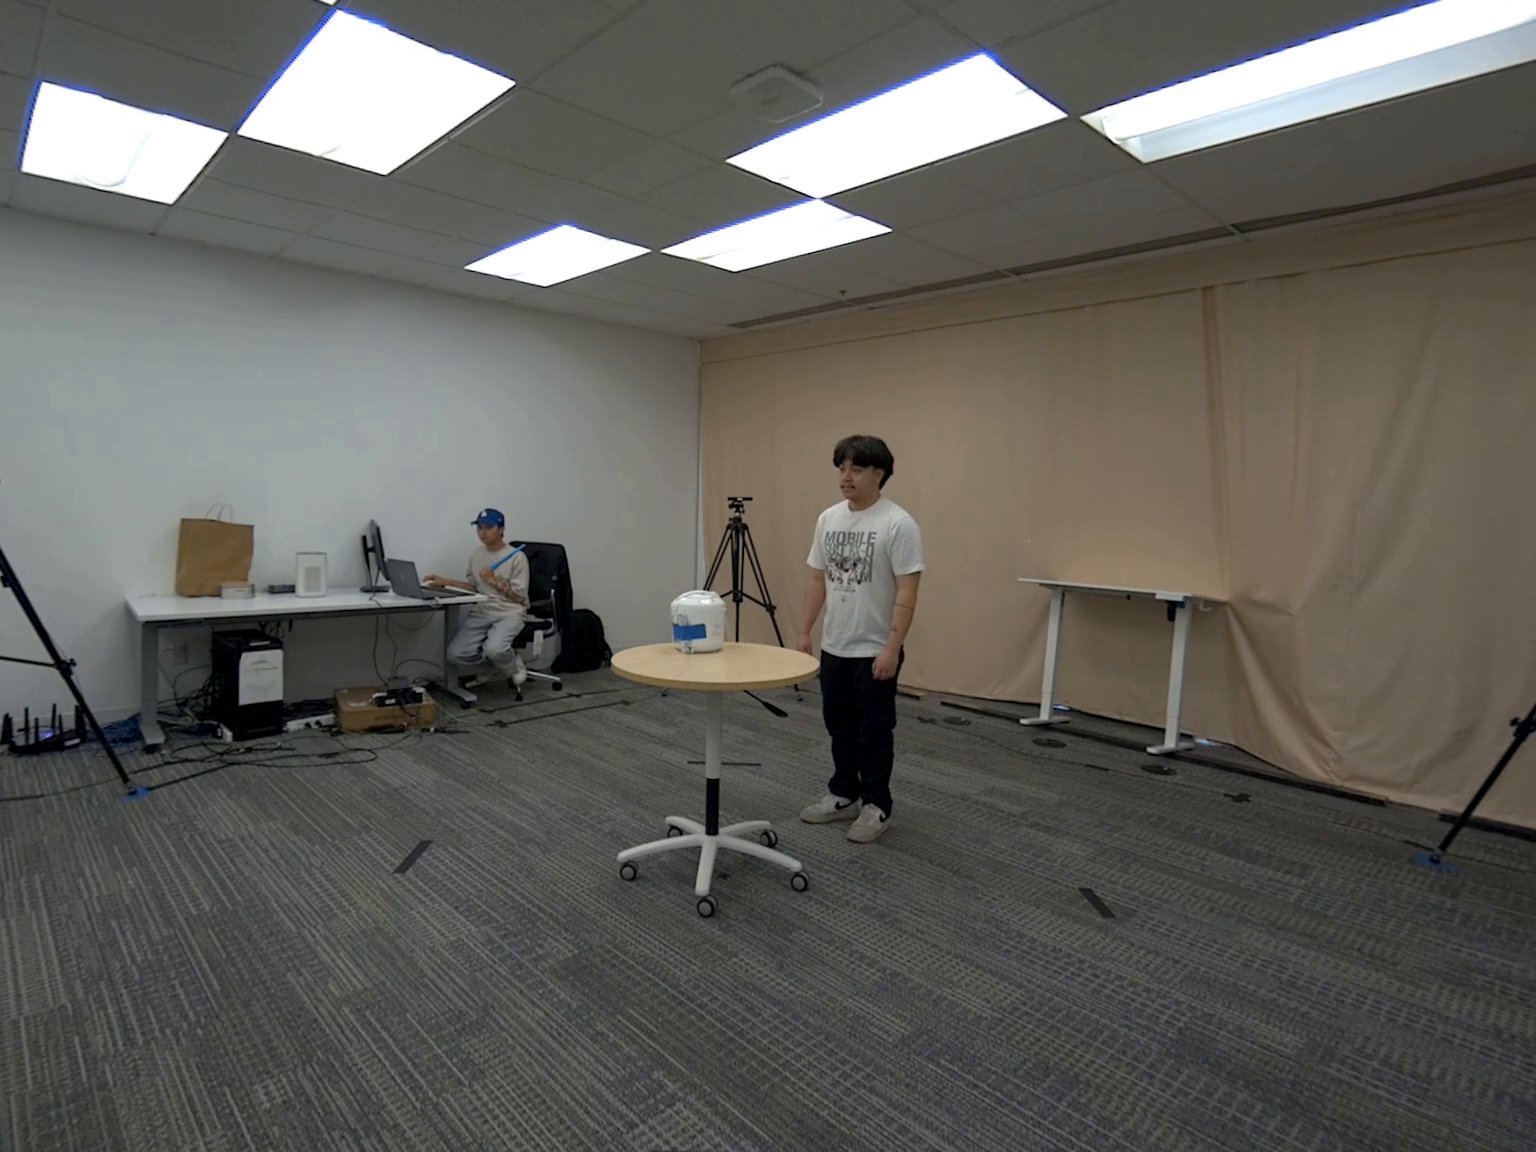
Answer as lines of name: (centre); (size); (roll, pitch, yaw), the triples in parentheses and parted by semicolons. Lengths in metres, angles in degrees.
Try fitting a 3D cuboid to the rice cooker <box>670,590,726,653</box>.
rice cooker: (-0.284, 0.173, 3.303); (0.217, 0.232, 0.221); (0, 5, -20)
